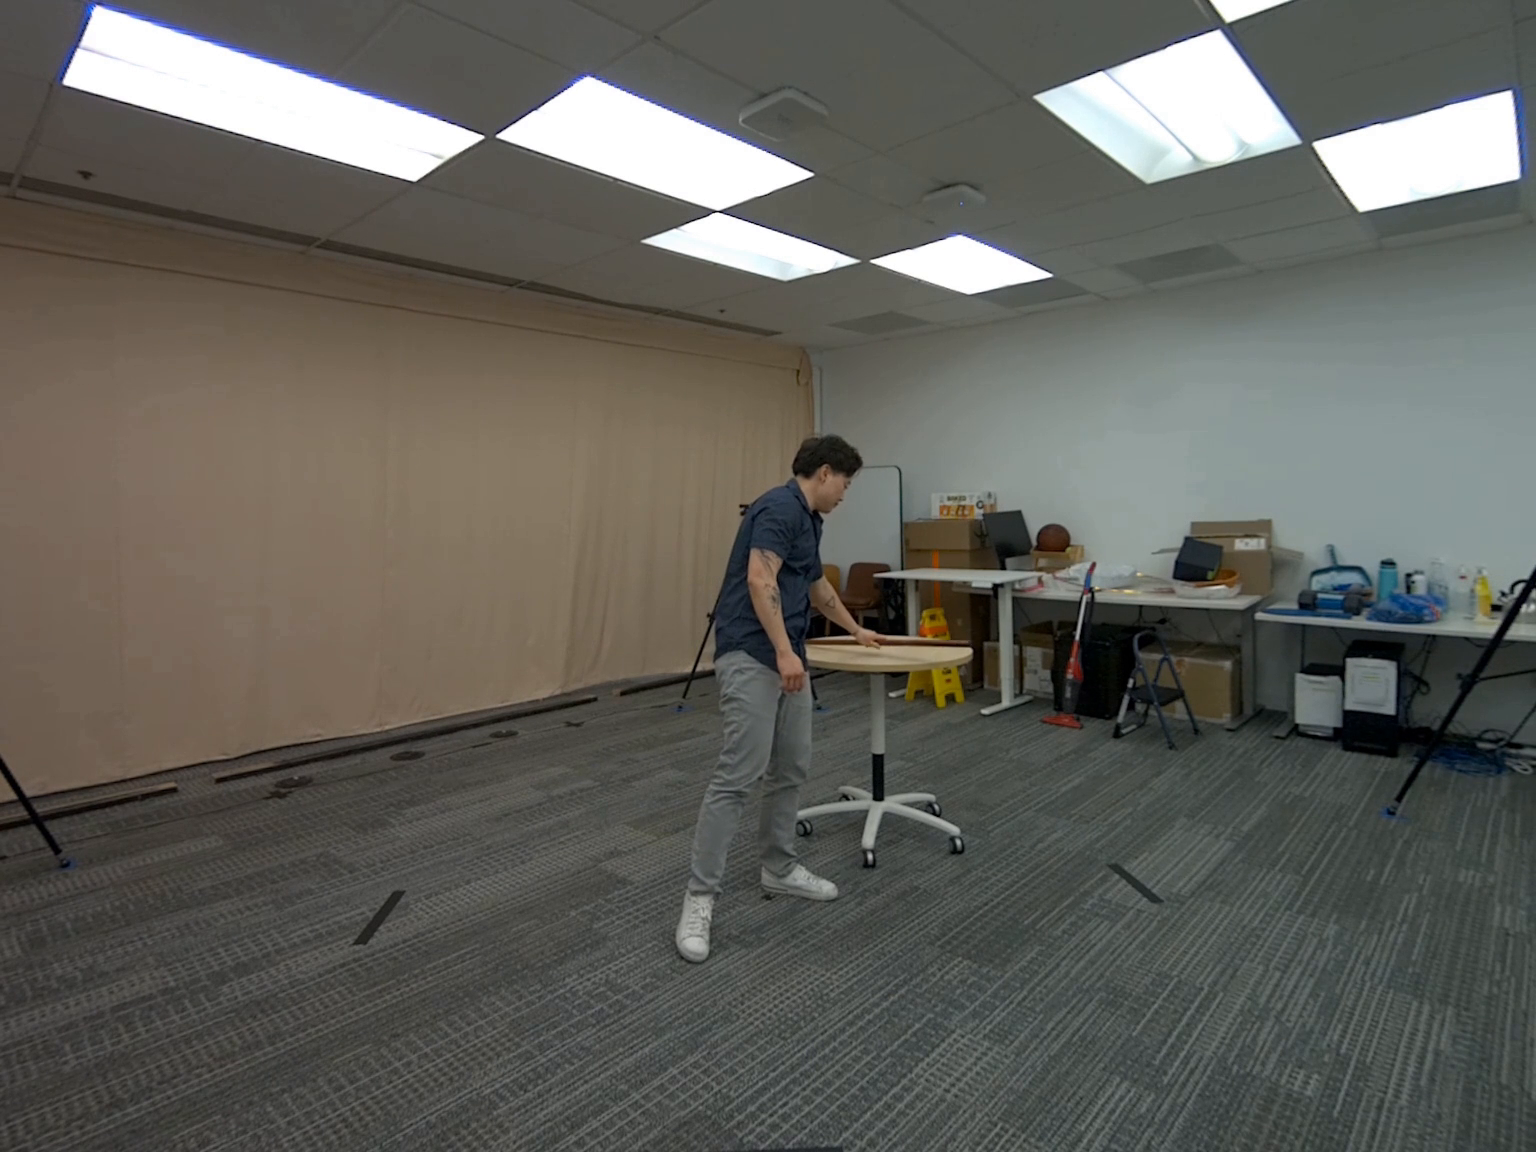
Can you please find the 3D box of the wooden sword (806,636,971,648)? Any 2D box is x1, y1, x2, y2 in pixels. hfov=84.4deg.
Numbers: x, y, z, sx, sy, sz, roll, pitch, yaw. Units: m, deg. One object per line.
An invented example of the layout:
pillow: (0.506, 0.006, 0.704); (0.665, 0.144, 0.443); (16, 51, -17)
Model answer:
wooden sword: (0.386, 0.264, 3.386); (1.057, 0.050, 0.024); (-1, 24, 46)
